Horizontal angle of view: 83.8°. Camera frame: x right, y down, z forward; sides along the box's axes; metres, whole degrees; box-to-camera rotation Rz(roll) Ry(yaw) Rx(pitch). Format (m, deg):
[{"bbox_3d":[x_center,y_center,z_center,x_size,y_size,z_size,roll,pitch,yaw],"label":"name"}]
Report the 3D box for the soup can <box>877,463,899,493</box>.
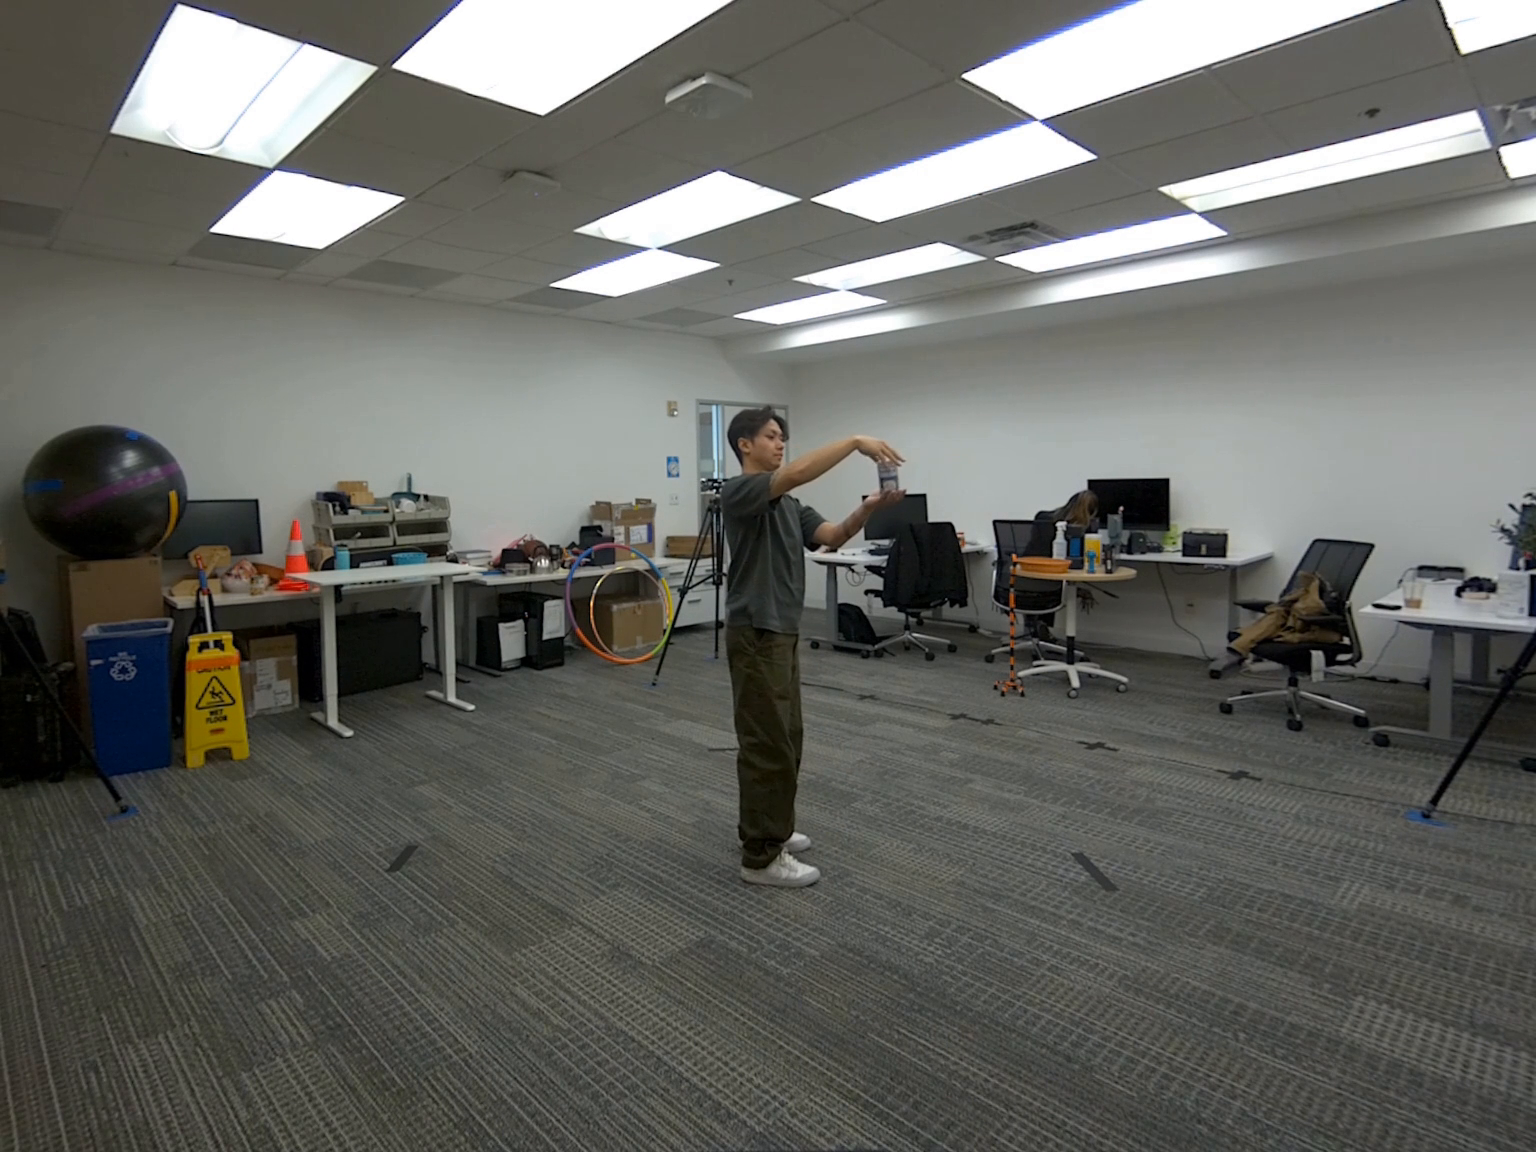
[{"bbox_3d":[0.403,-0.329,2.858,0.067,0.121,0.067,-3,4,-1],"label":"soup can"}]
